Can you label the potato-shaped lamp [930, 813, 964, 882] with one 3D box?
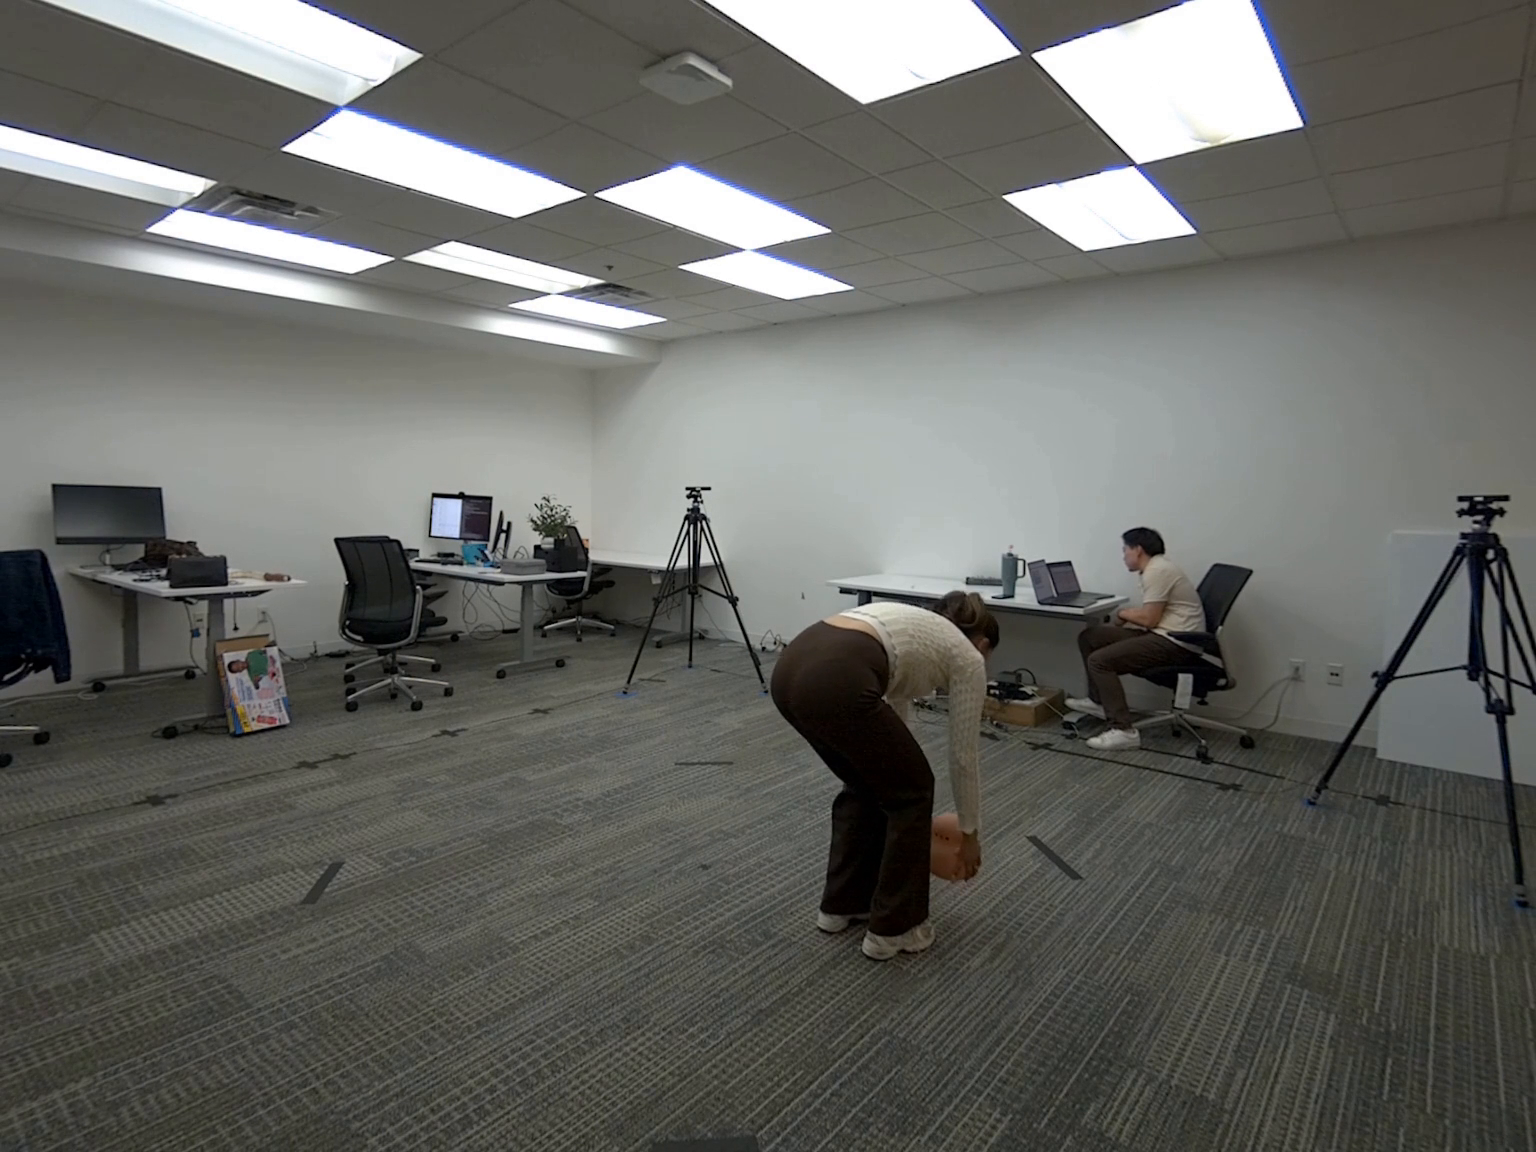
[{"bbox_3d":[0.591,0.867,2.812,0.168,0.195,0.170,-22,19,-41],"label":"potato-shaped lamp"}]
